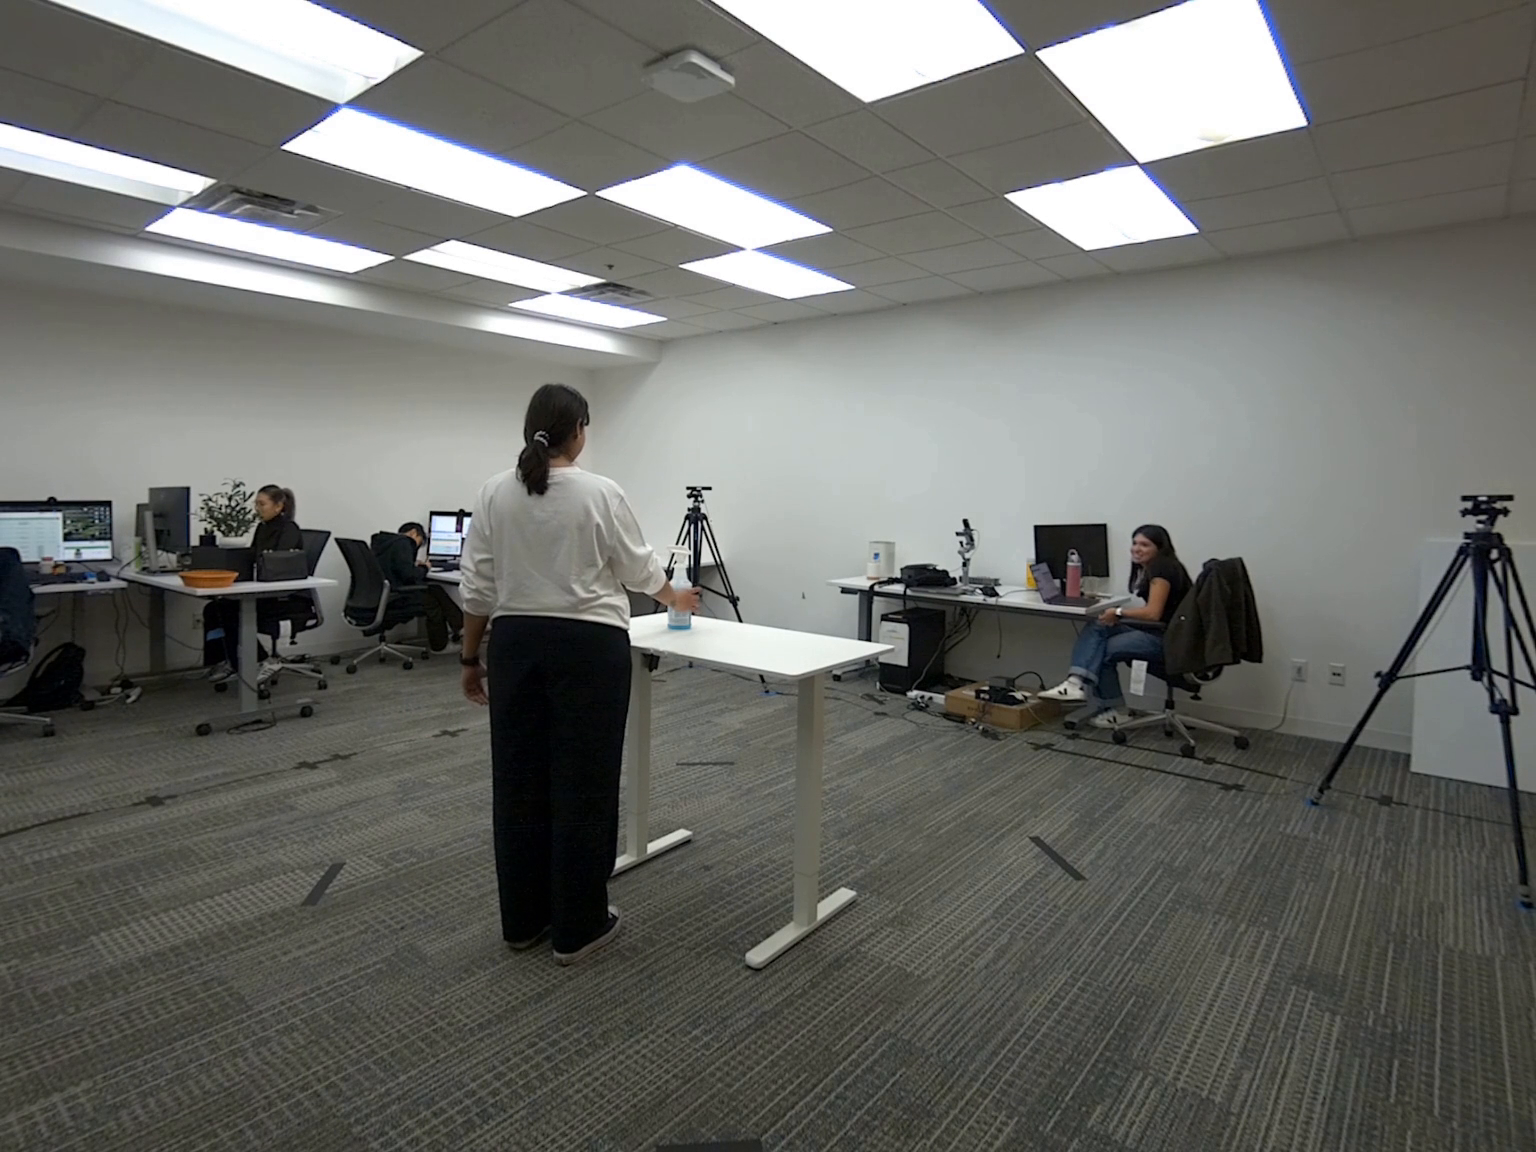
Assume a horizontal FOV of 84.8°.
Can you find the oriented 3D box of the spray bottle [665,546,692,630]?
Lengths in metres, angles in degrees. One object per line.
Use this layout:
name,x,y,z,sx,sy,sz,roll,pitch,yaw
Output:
spray bottle,-0.319,0.041,3.048,0.092,0.296,0.085,2,4,23
